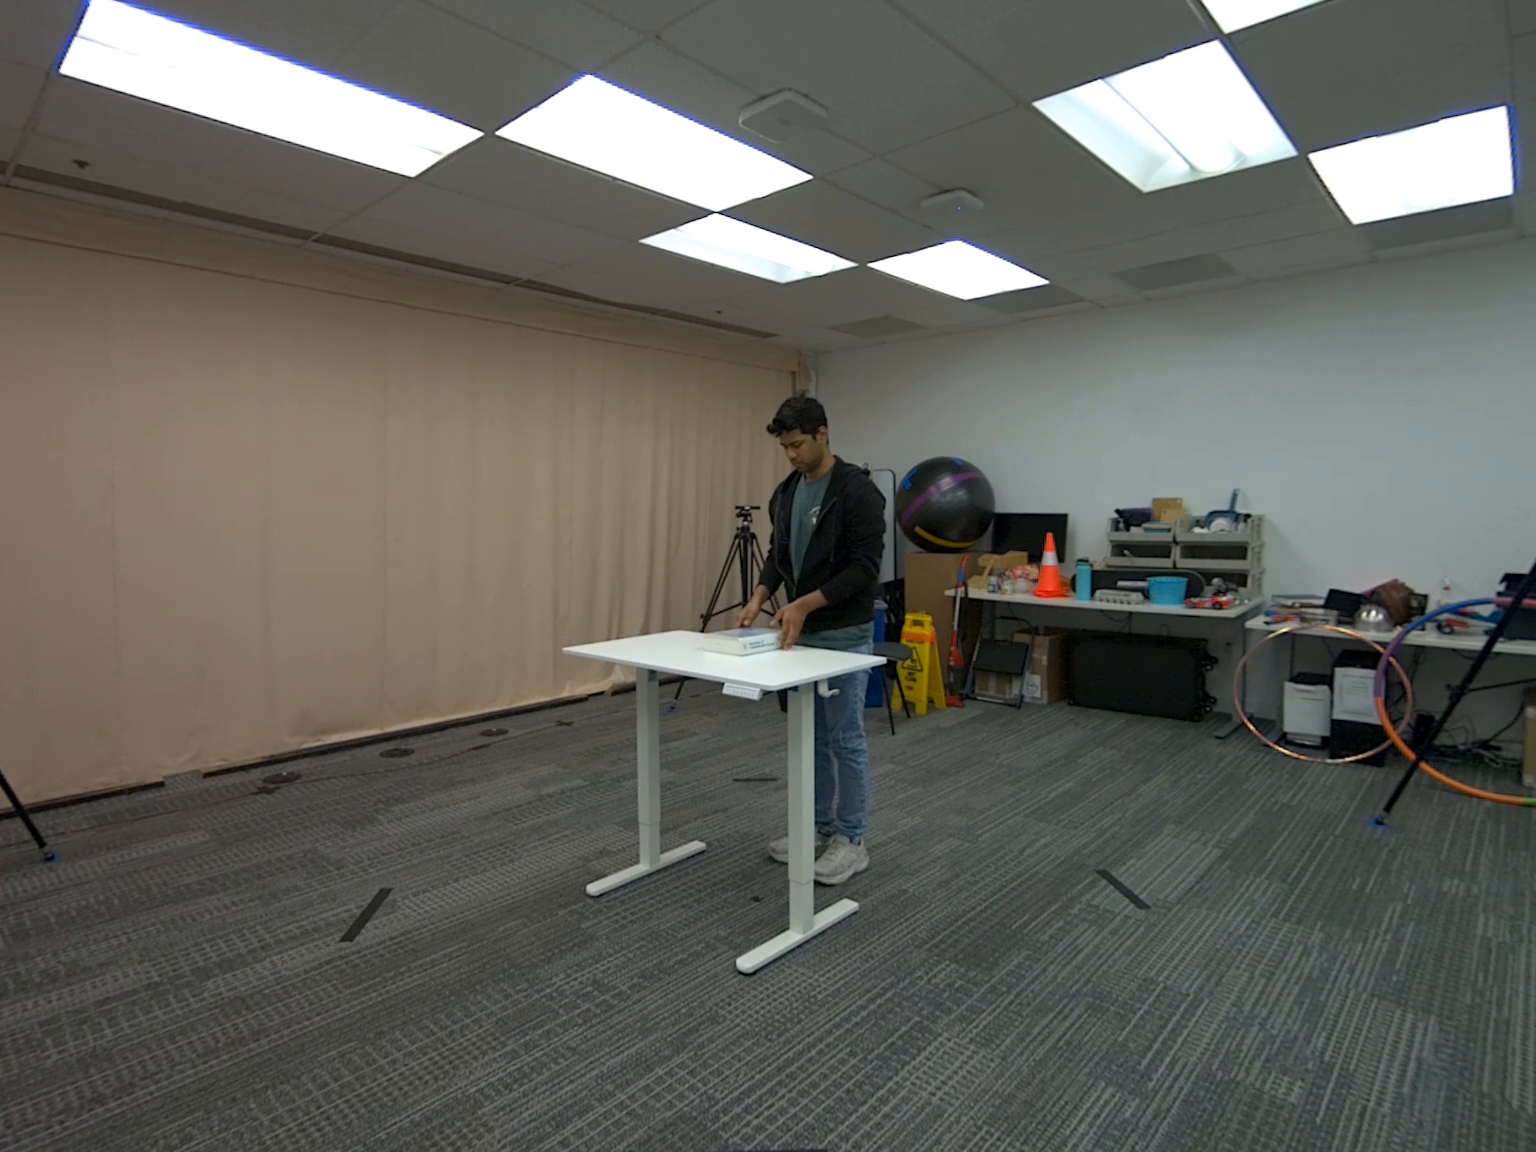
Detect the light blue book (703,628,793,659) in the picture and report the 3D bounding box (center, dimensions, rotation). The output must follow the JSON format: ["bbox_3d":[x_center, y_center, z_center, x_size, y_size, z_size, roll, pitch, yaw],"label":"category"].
[{"bbox_3d":[-0.071,0.235,3.013,0.198,0.059,0.253,4,5,44],"label":"light blue book"}]
